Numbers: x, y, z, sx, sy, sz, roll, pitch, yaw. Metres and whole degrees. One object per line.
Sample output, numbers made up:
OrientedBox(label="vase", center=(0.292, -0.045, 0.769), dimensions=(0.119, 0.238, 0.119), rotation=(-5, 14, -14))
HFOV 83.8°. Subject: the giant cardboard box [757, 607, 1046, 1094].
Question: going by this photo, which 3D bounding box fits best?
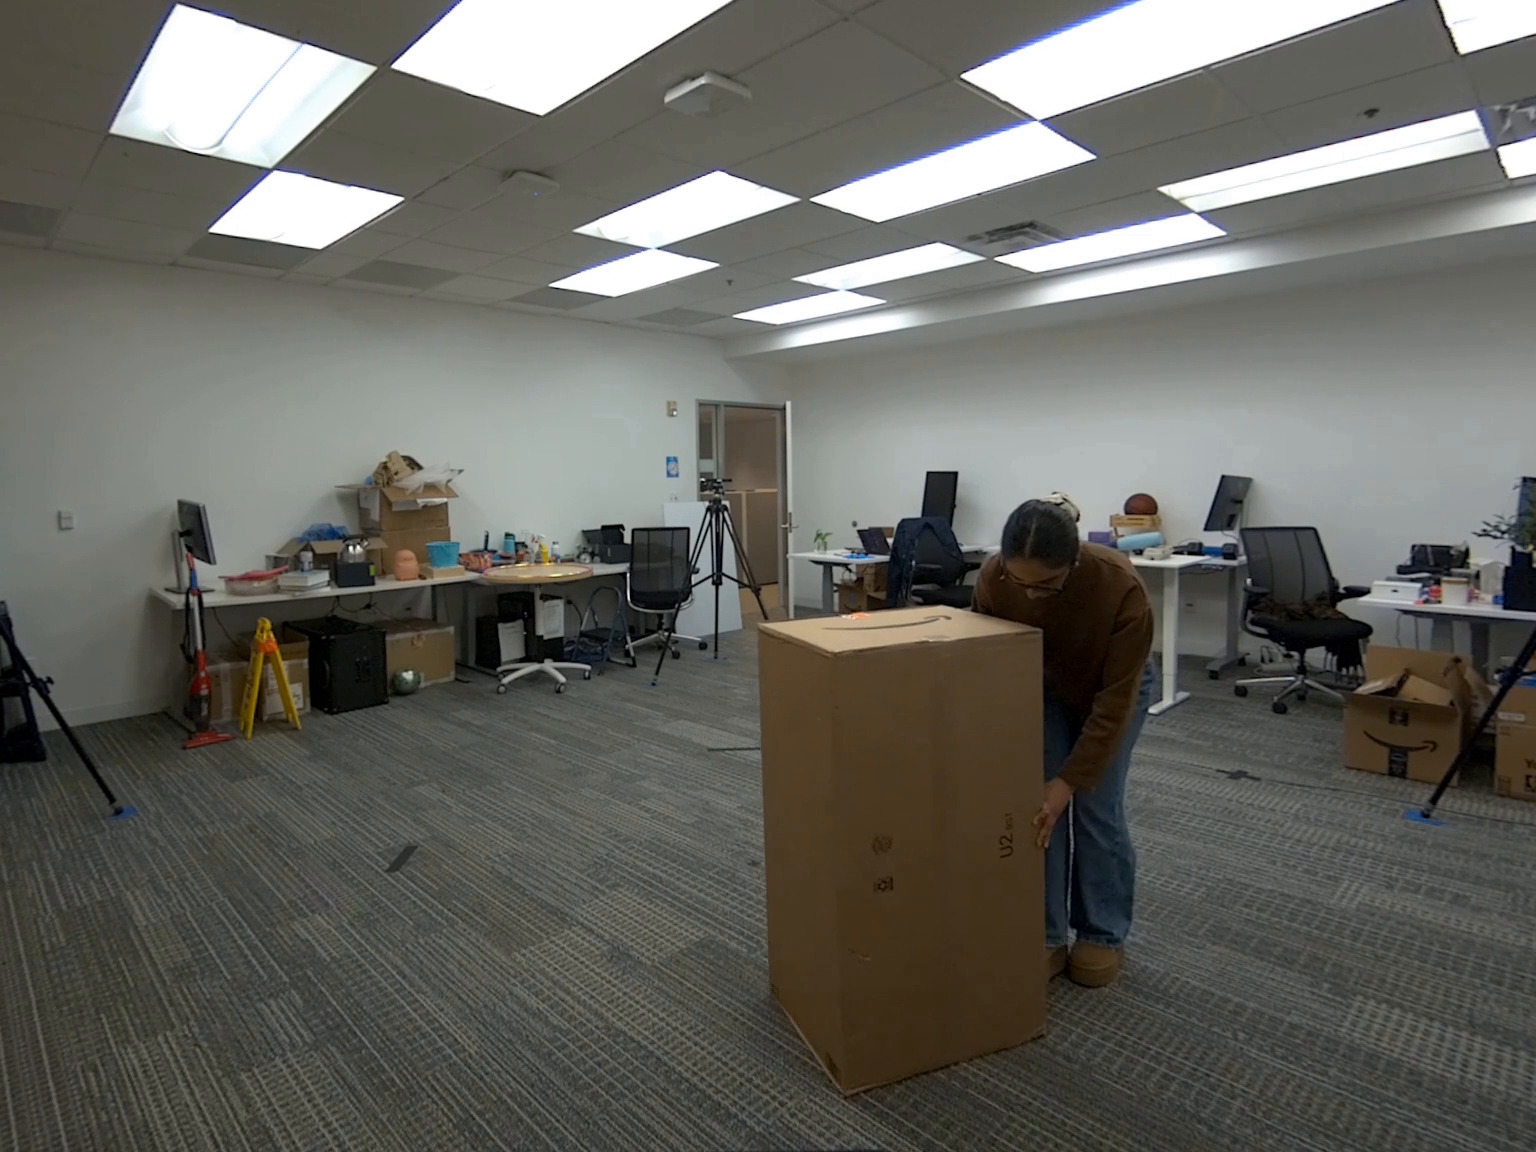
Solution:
OrientedBox(label="giant cardboard box", center=(0.337, 0.637, 2.187), dimensions=(0.567, 1.021, 0.436), rotation=(-4, 5, -22))
